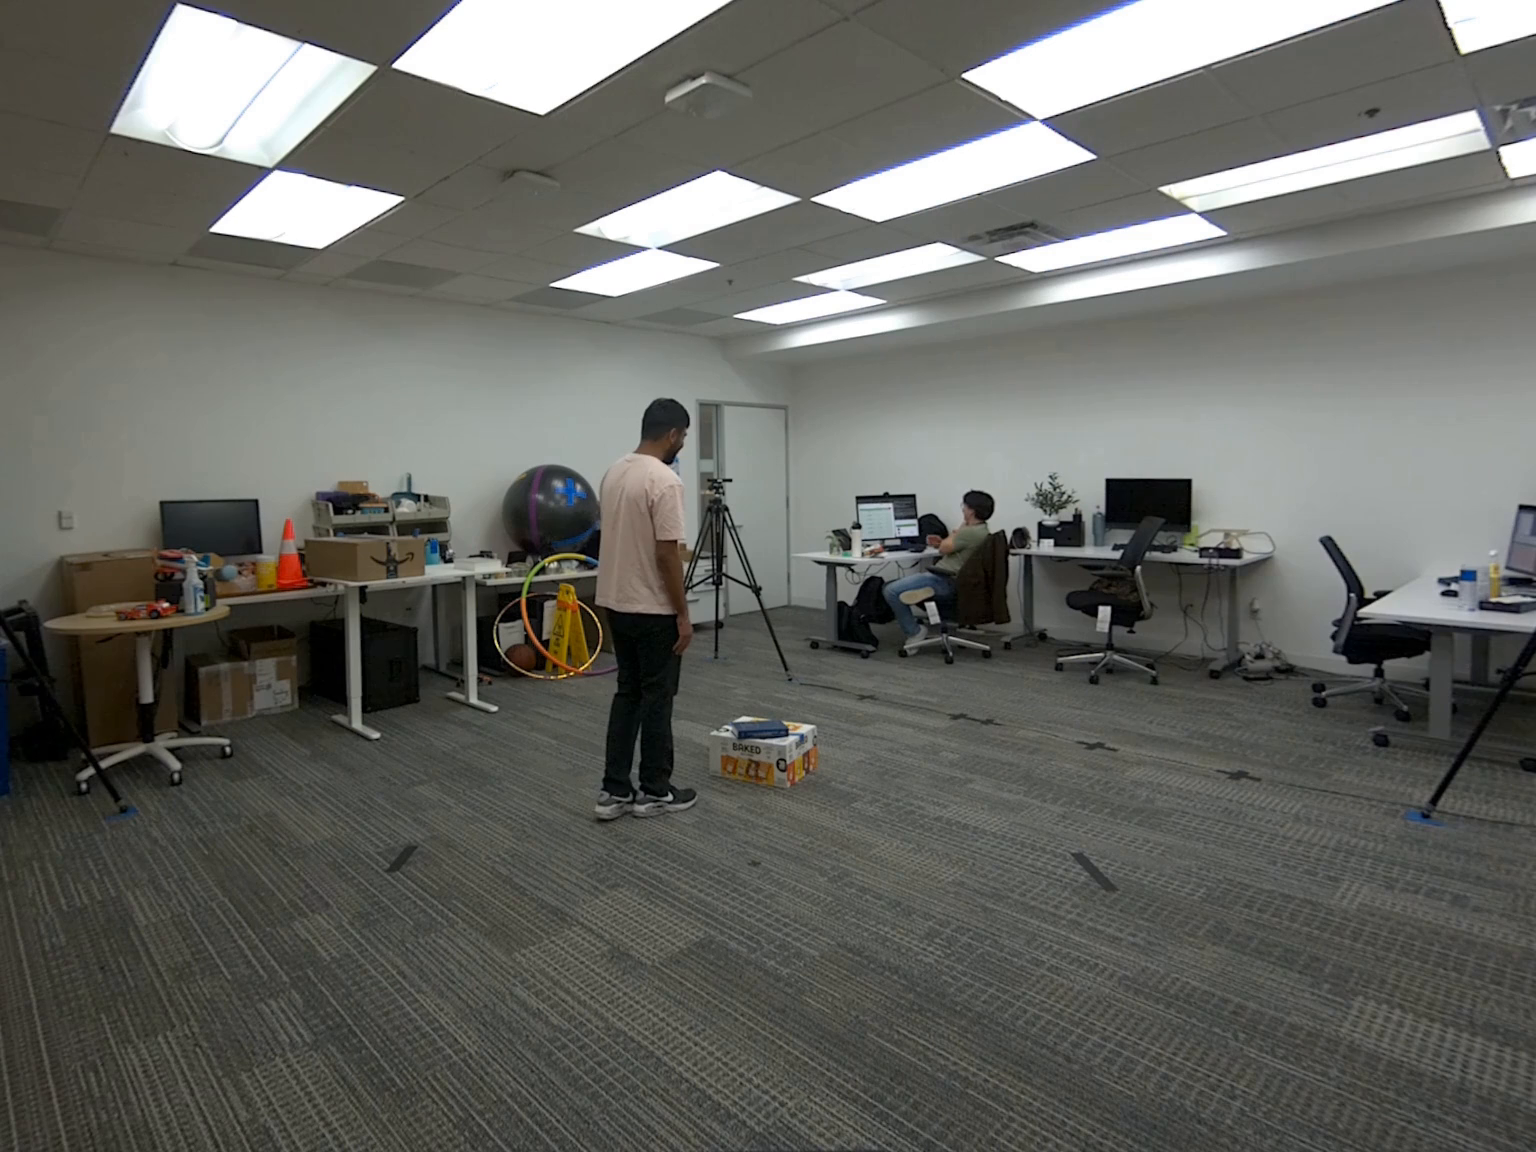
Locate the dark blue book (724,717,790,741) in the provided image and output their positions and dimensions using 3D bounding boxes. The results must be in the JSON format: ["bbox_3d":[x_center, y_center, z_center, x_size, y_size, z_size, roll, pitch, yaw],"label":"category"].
[{"bbox_3d":[-0.033,0.725,4.036,0.242,0.045,0.165,-1,4,-12],"label":"dark blue book"}]
